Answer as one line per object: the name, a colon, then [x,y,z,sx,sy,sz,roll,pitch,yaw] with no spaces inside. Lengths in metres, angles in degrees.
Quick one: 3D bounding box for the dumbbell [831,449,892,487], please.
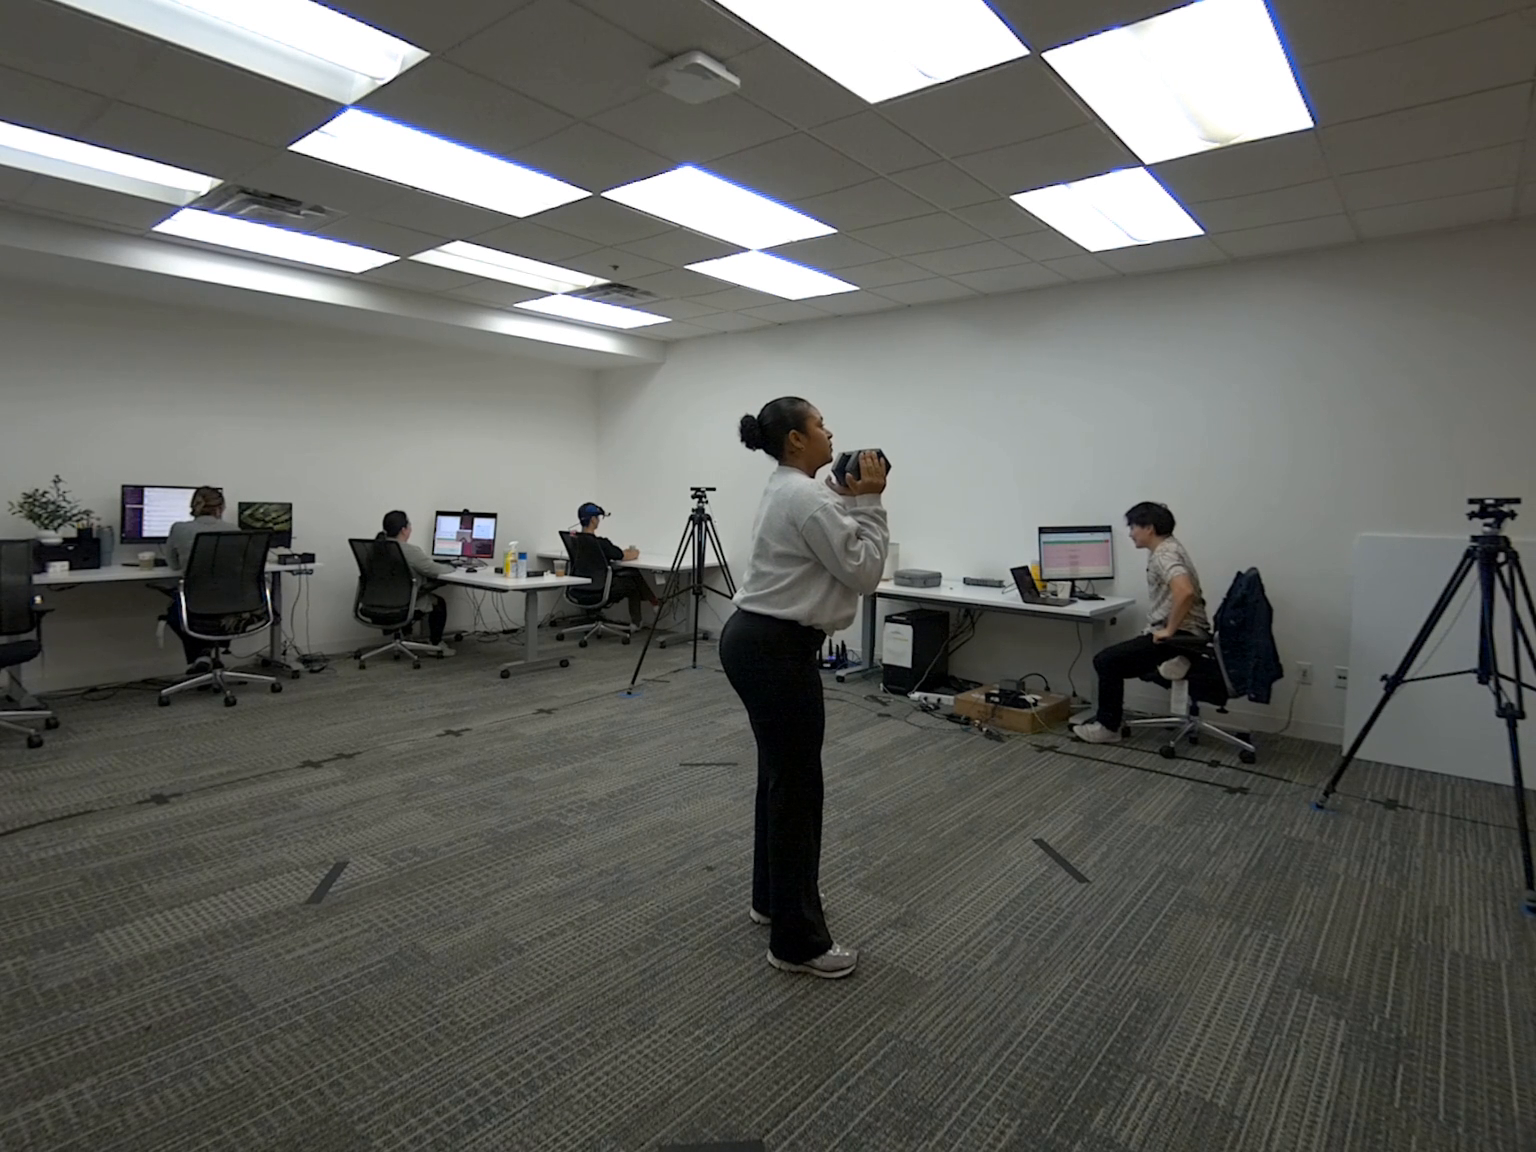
dumbbell: [0.265,-0.321,2.567,0.108,0.122,0.297,-36,9,-3]
